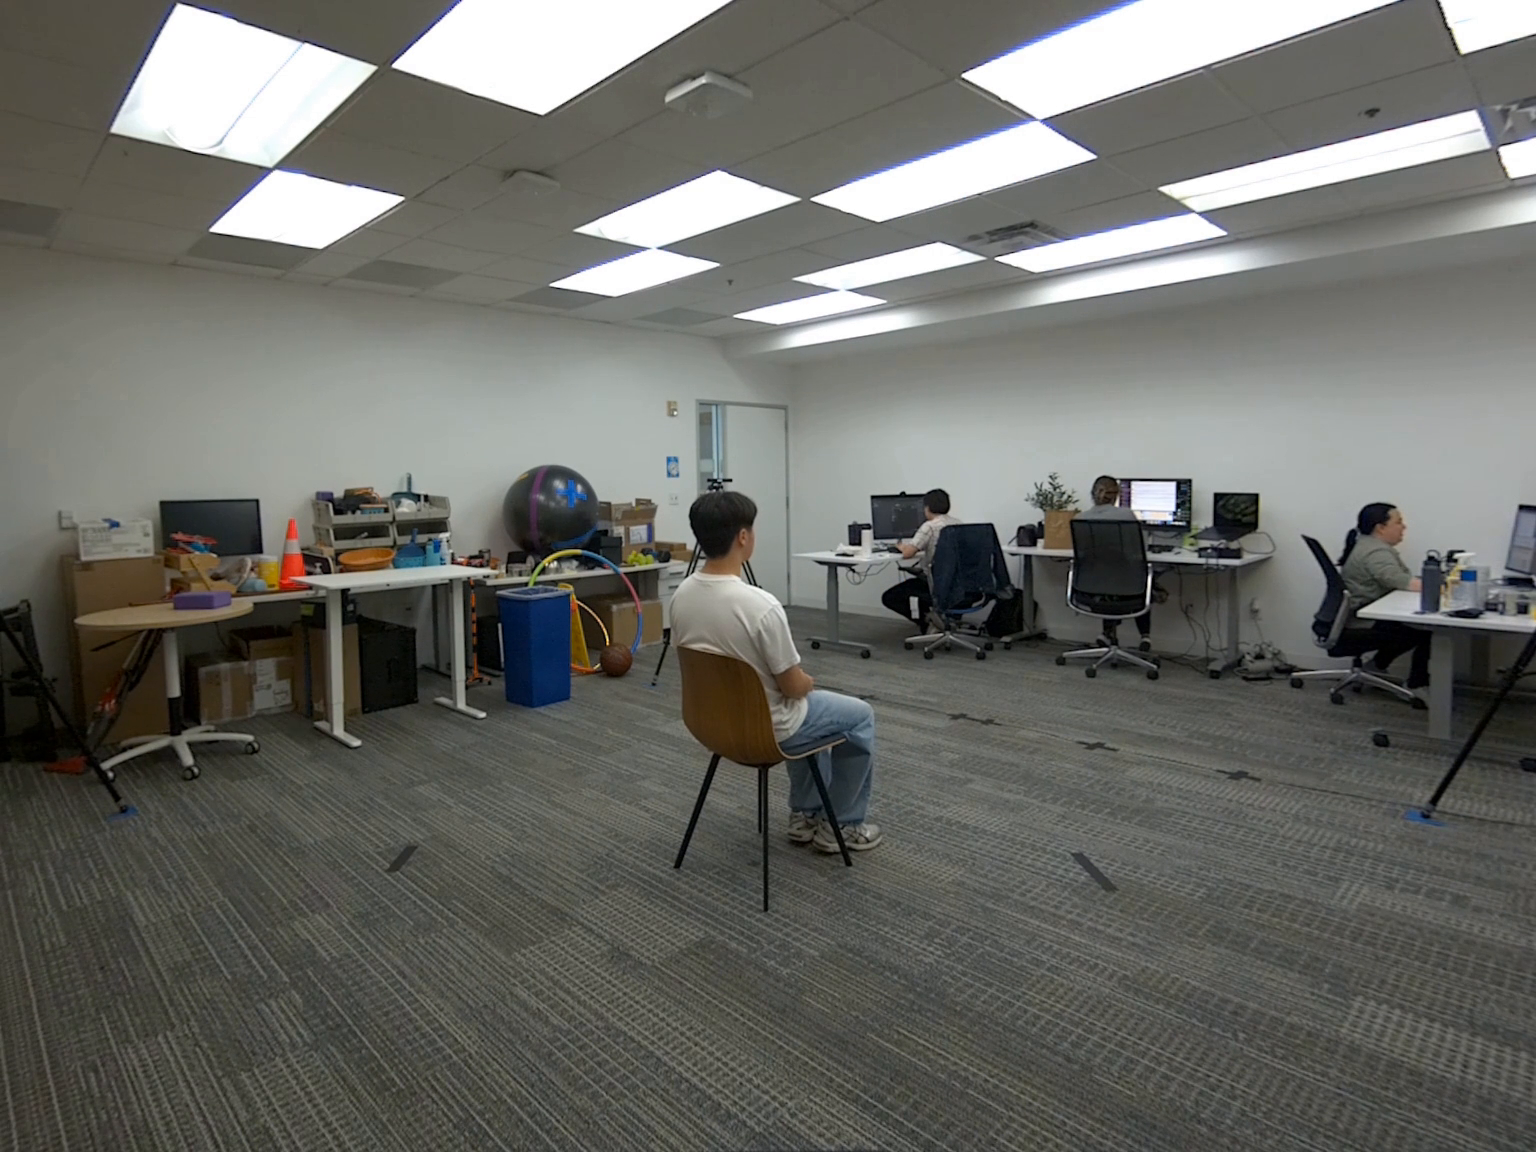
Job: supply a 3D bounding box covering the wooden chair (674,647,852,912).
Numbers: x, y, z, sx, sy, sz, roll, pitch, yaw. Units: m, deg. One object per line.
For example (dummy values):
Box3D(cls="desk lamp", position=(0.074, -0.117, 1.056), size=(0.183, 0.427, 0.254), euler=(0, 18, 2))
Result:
Box3D(cls="wooden chair", position=(-0.023, 0.625, 3.040), size=(0.493, 0.871, 0.511), euler=(4, 11, 44))
